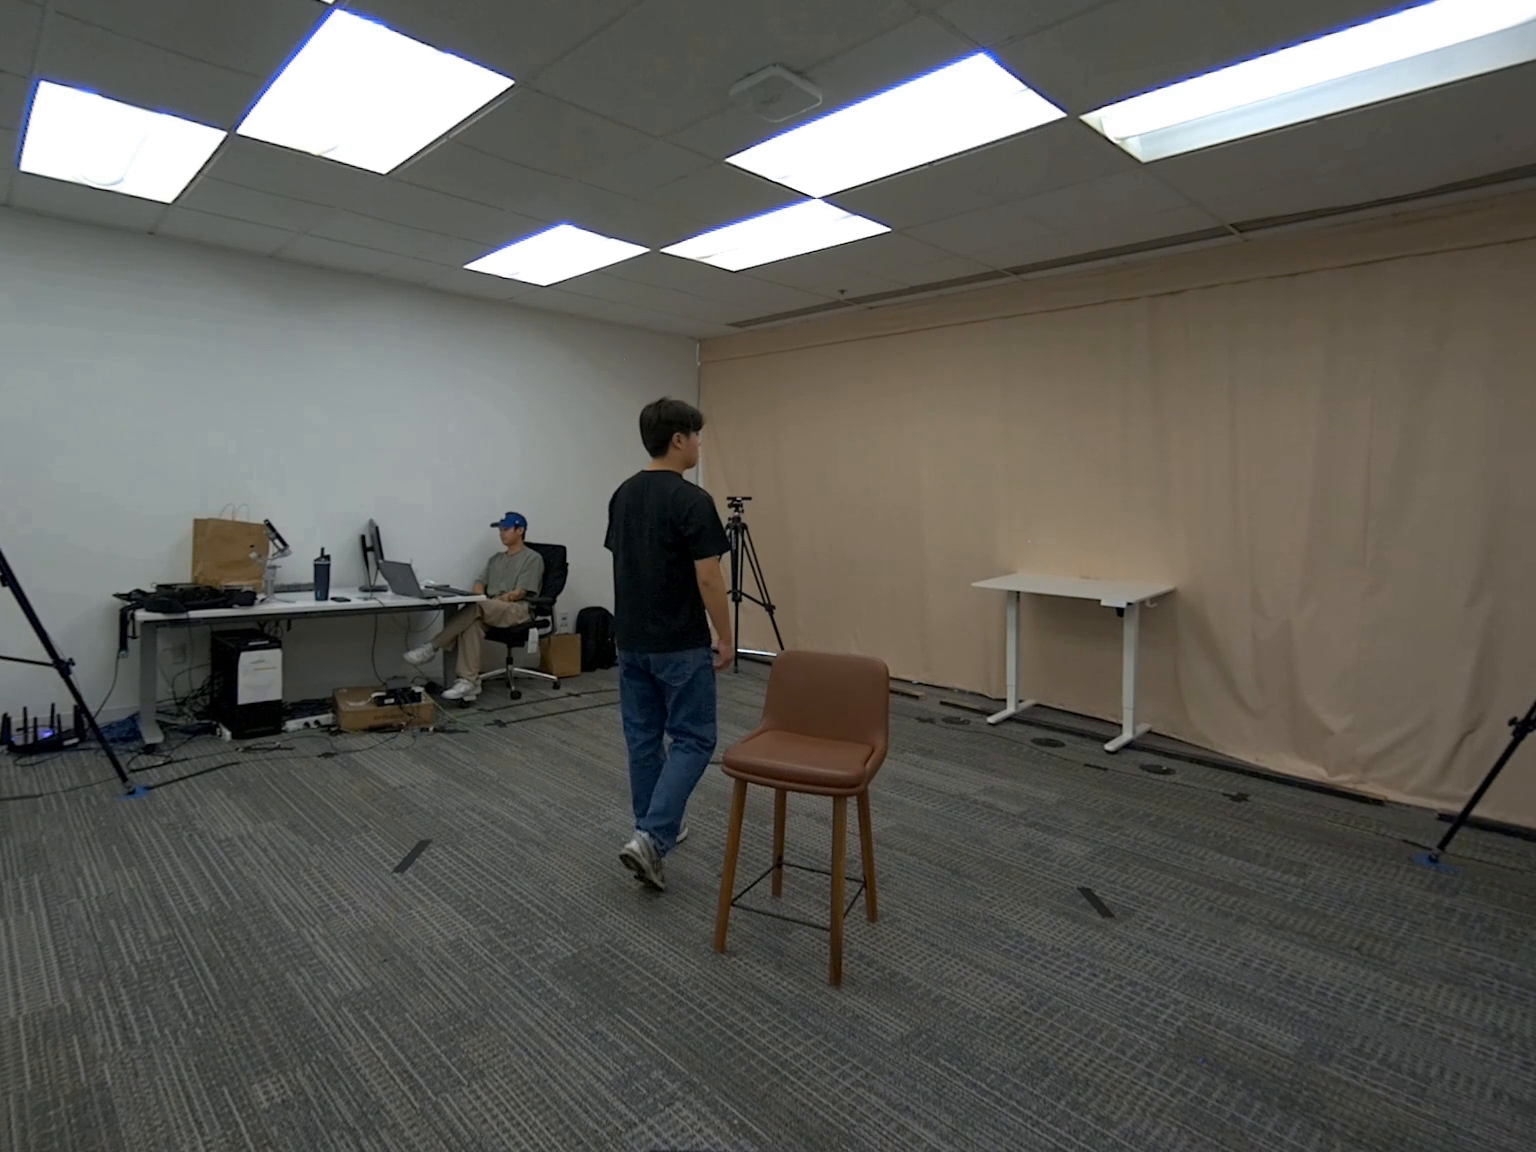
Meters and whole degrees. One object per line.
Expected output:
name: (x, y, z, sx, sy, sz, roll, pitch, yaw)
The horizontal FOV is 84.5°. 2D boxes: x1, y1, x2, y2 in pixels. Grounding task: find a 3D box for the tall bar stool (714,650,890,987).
tall bar stool: (0.121, 0.718, 2.664, 0.466, 0.889, 0.459, 3, 2, 26)
